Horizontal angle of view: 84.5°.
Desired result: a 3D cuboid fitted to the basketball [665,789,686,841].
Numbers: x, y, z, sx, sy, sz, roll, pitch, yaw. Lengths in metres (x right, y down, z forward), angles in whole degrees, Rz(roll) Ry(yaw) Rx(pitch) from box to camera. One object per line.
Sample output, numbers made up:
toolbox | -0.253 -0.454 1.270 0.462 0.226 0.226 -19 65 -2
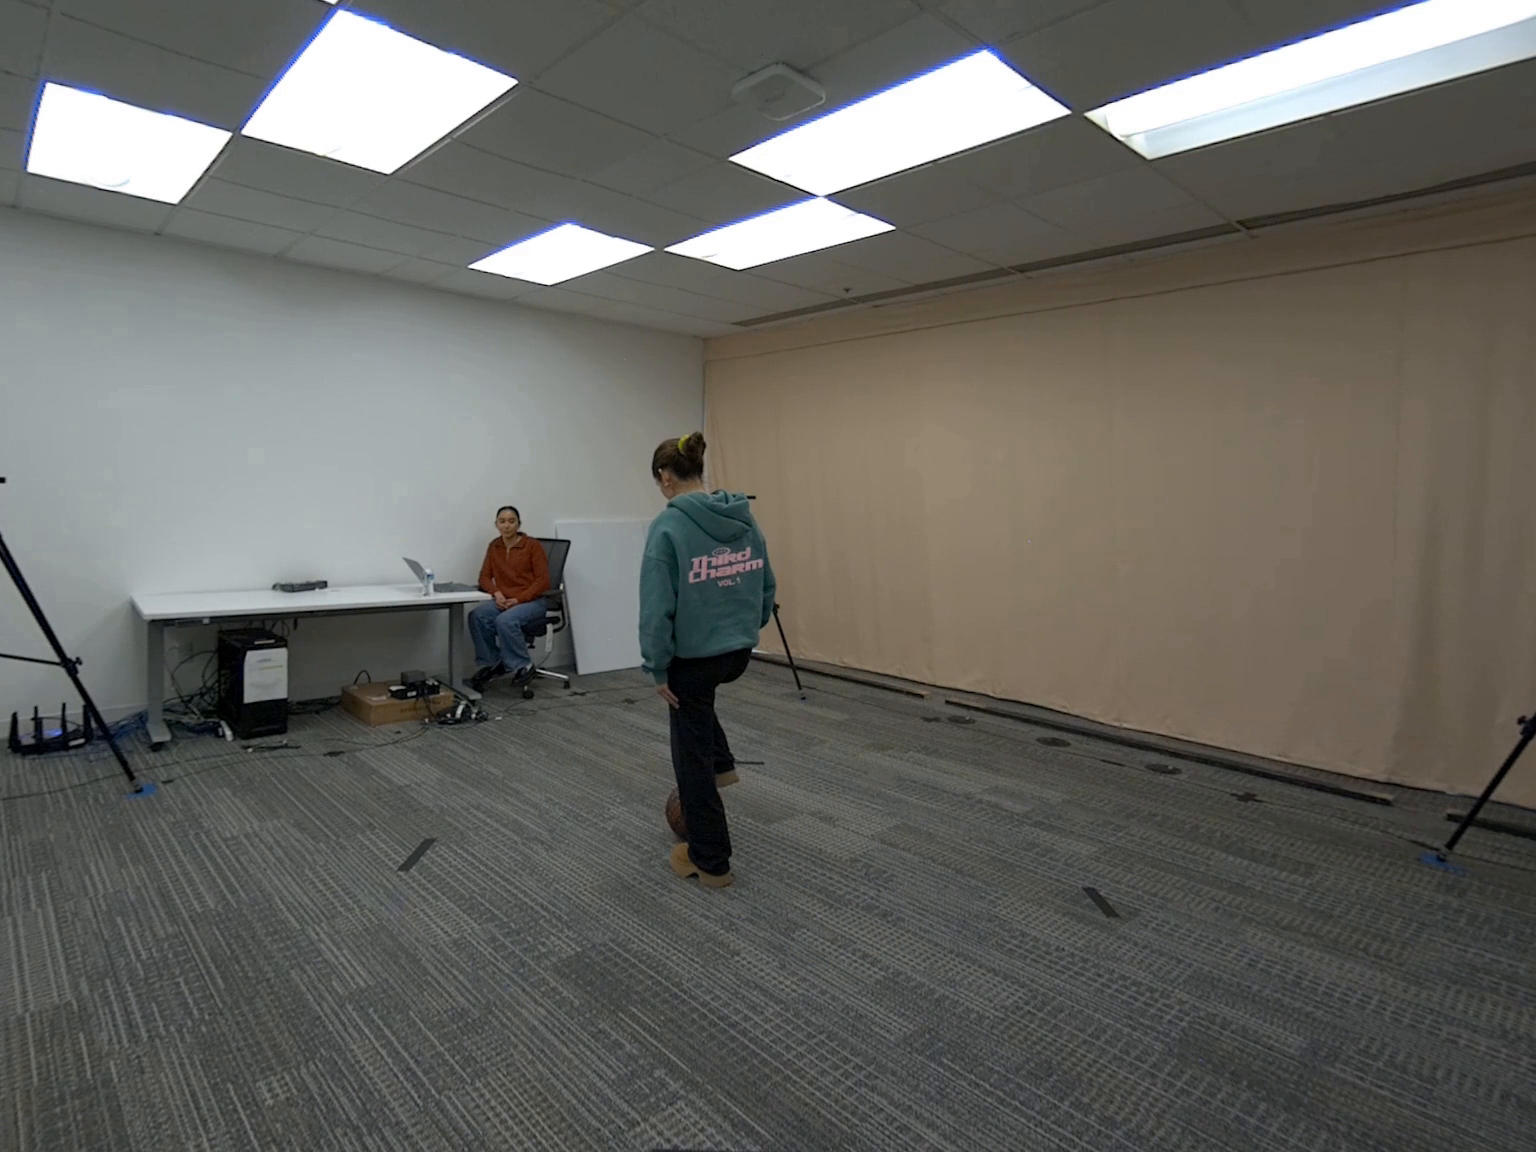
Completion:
basketball | -0.311 0.952 3.430 0.236 0.235 0.237 1 4 -1
